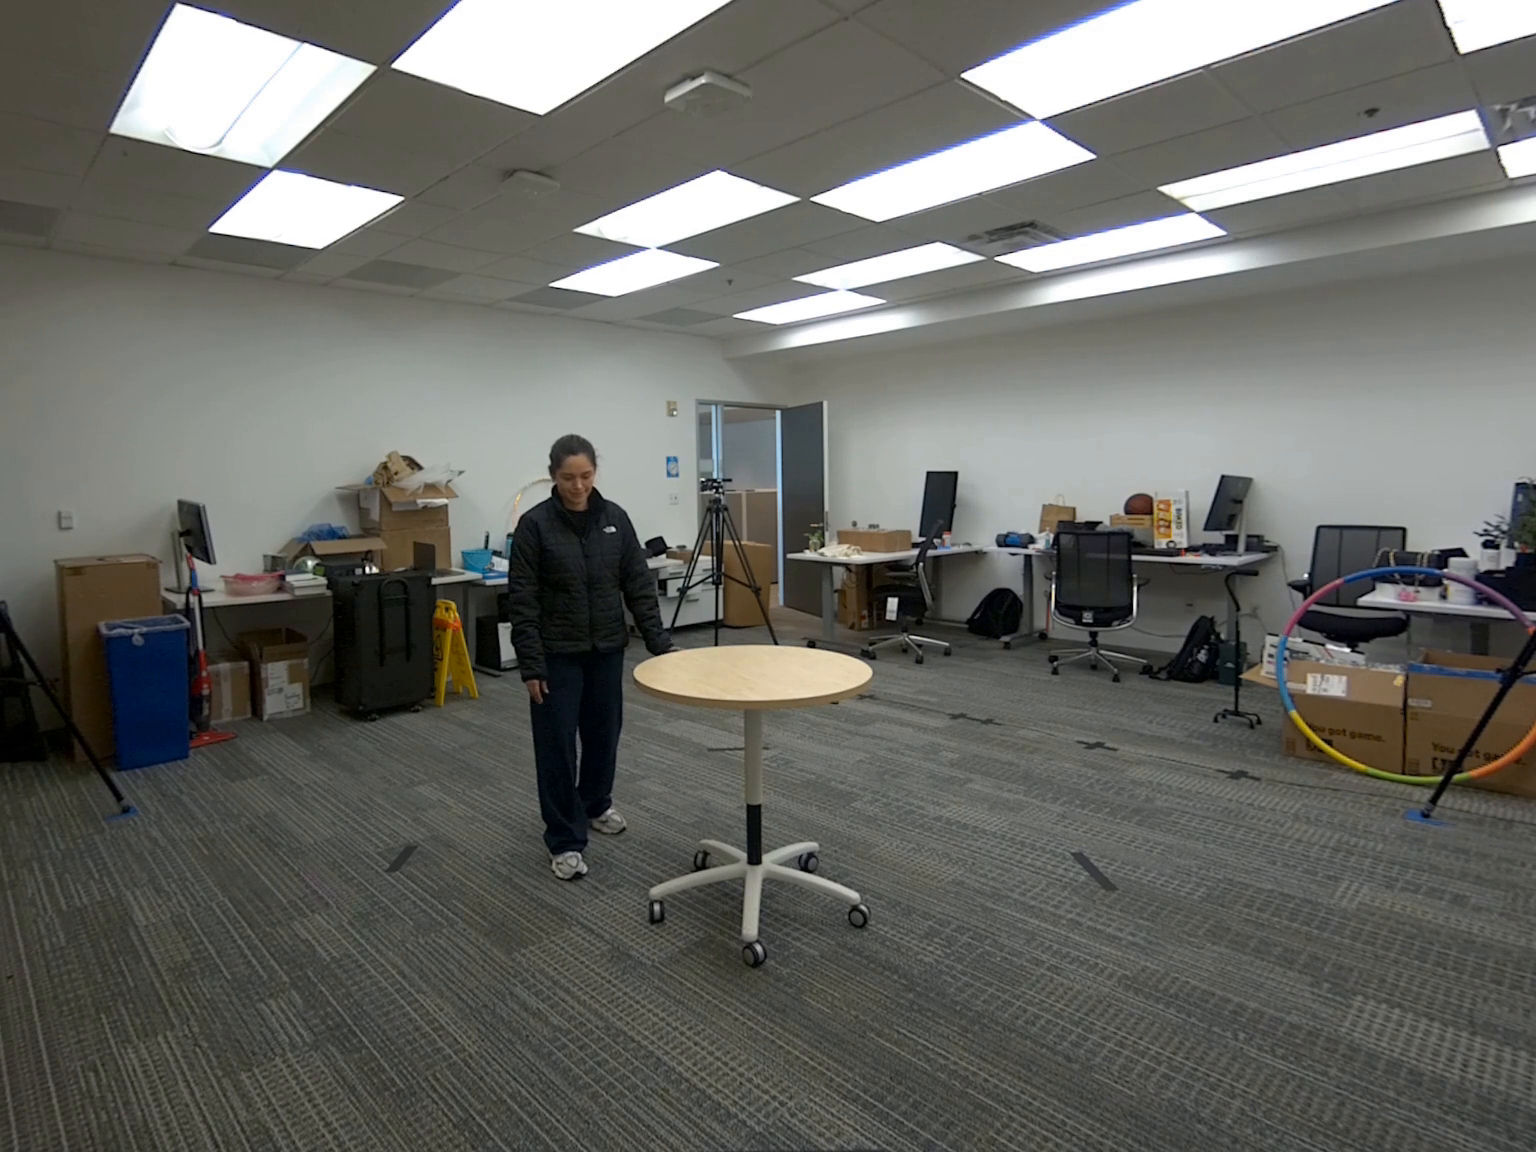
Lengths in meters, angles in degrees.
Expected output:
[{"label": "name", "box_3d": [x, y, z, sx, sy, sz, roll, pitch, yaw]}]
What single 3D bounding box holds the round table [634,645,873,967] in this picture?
[{"label": "round table", "box_3d": [-0.058, 0.687, 2.794, 0.784, 0.783, 0.789, 0, 5, -2]}]
